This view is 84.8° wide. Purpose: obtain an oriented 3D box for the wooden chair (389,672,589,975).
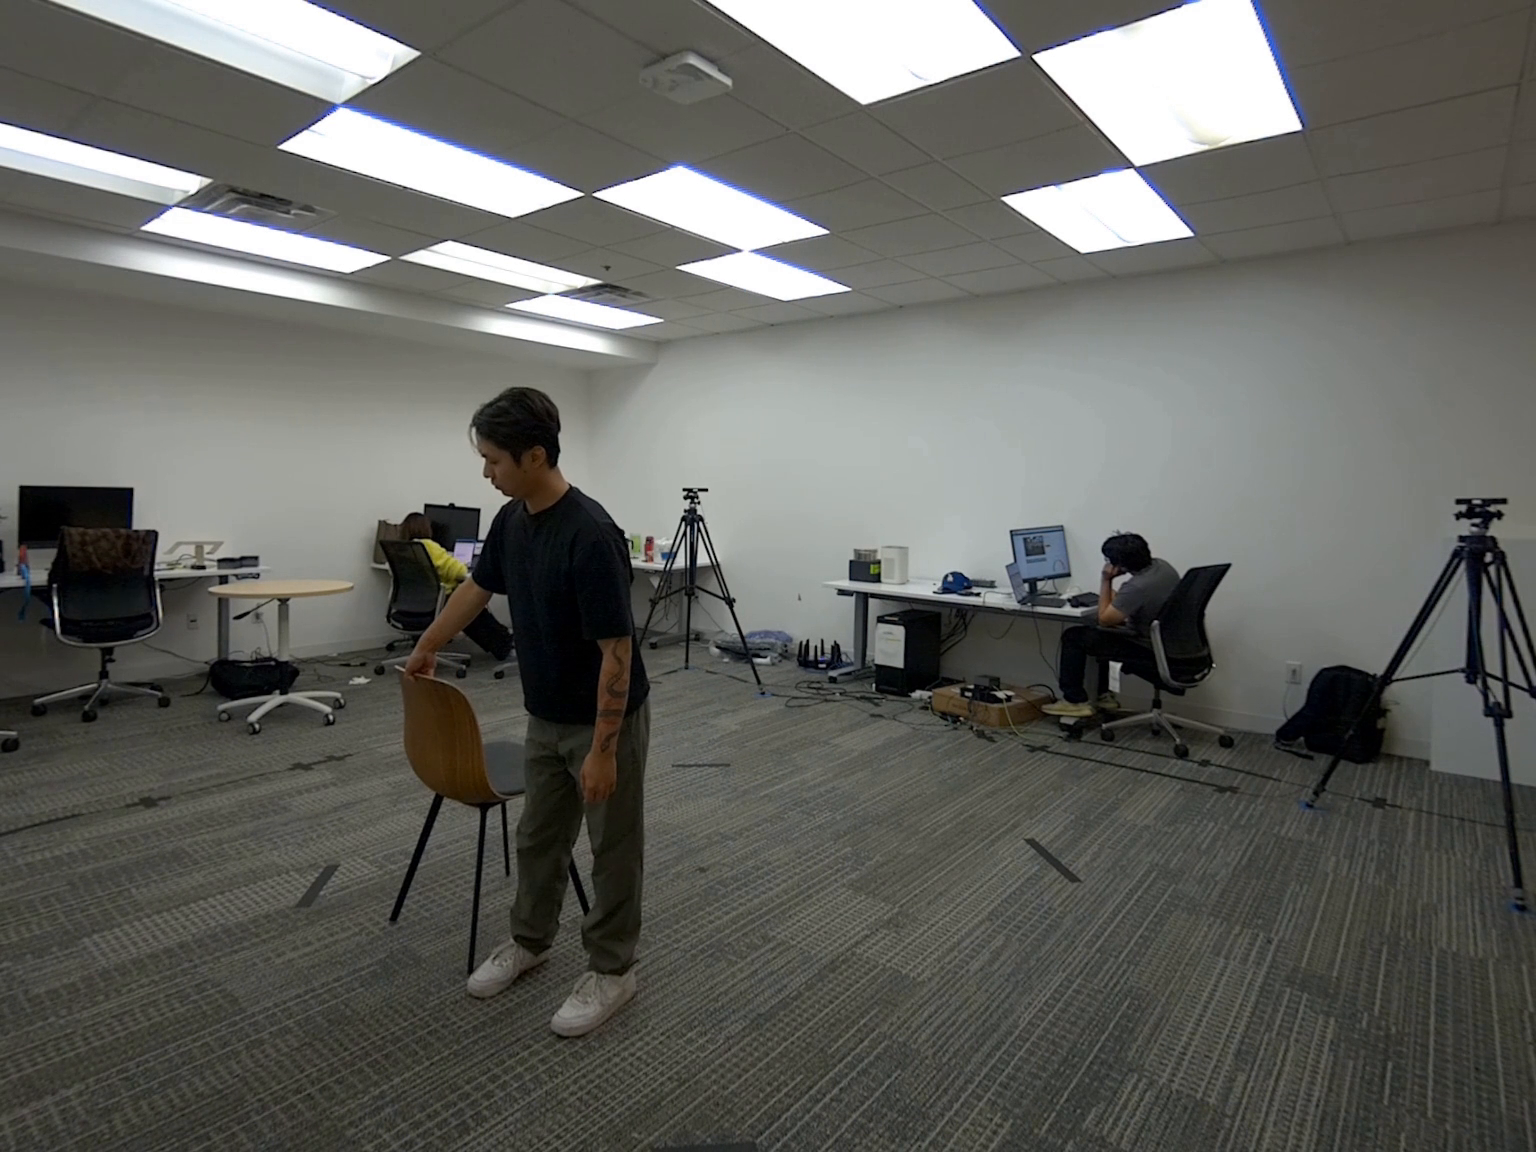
[{"bbox_3d":[-0.887,0.669,2.706,0.494,0.871,0.510,3,9,38],"label":"wooden chair"}]
